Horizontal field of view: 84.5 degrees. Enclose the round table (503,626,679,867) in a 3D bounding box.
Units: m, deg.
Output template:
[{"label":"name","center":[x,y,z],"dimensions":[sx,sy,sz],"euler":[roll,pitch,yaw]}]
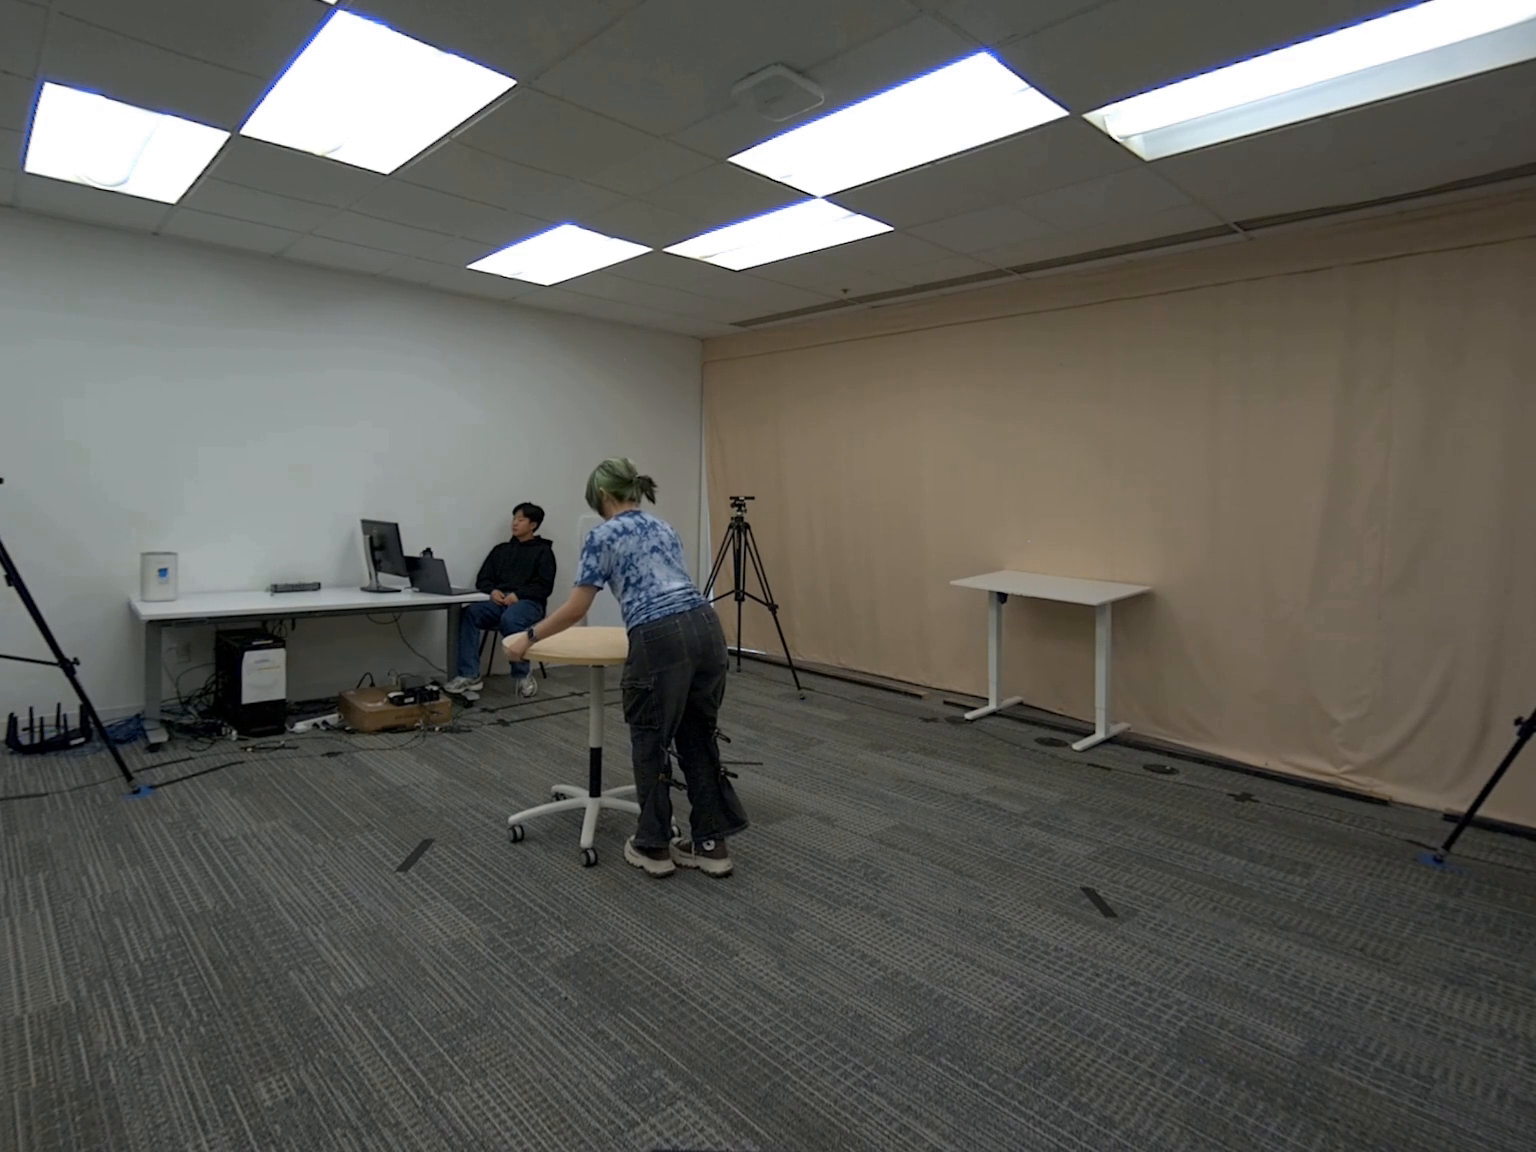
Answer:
[{"label":"round table","center":[-0.725,0.667,3.491],"dimensions":[0.763,0.792,0.766],"euler":[1,3,-1]}]
